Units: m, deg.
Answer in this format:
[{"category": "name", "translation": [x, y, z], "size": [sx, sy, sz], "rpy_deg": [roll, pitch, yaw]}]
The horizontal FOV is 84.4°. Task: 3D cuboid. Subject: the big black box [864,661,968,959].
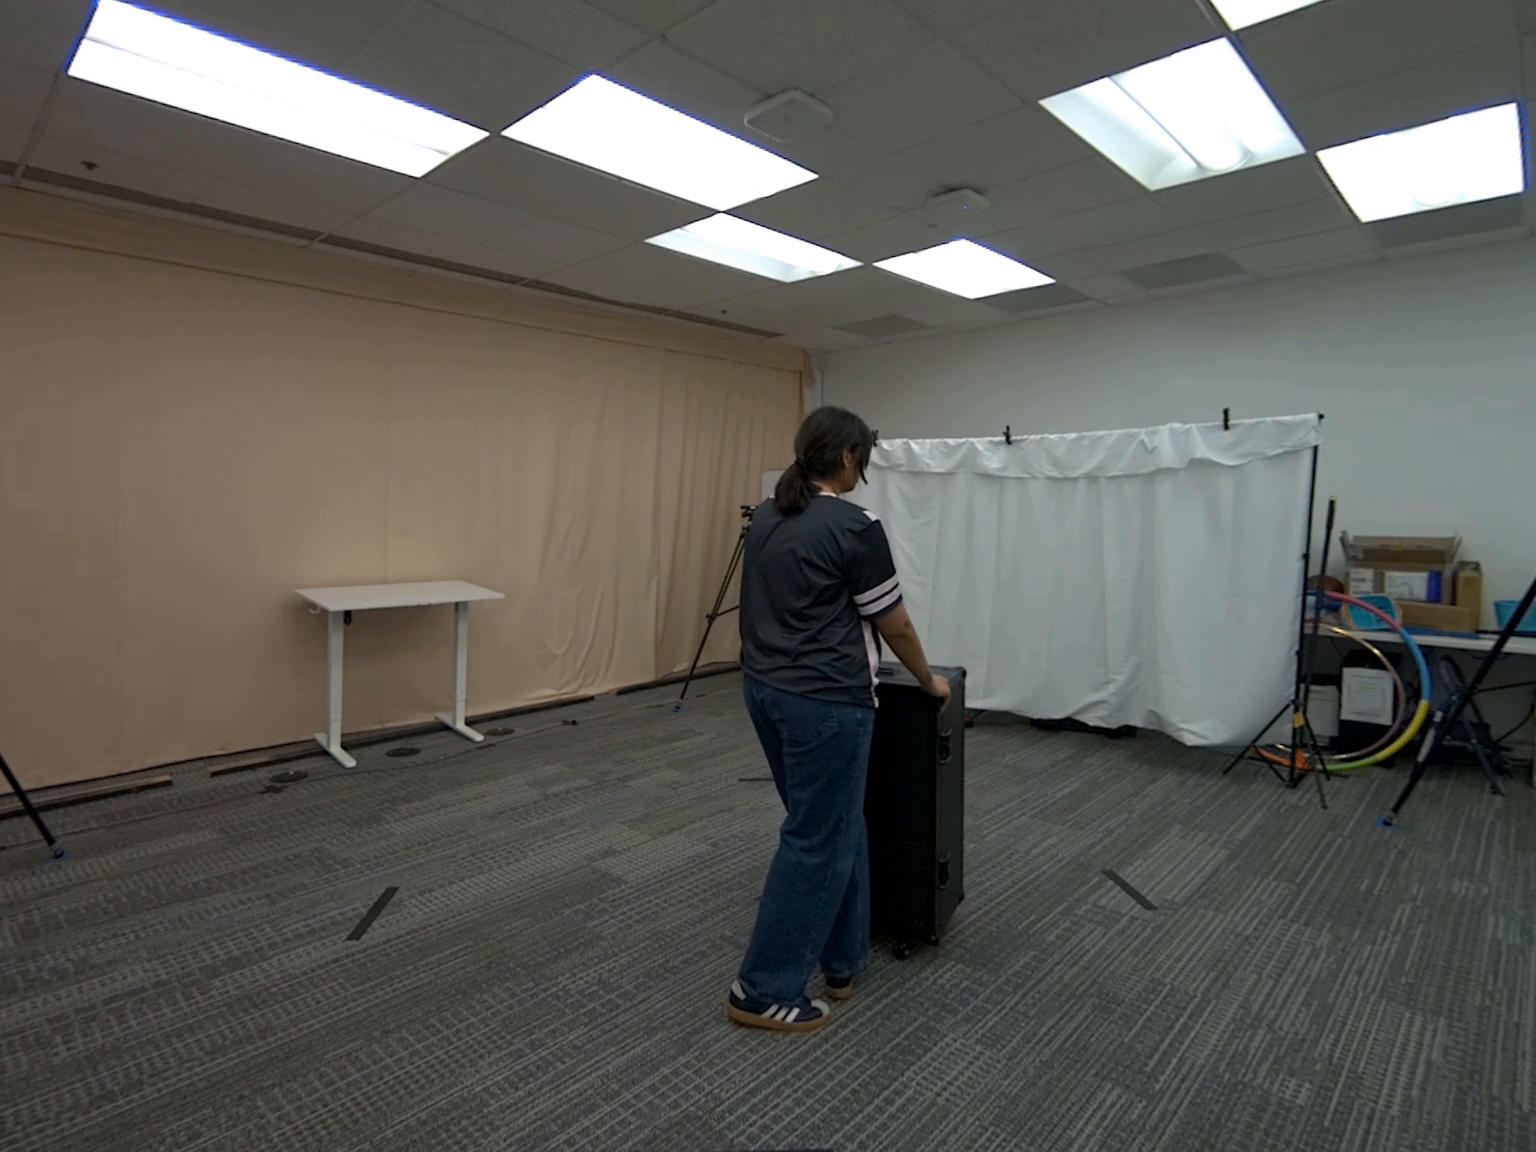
[{"category": "big black box", "translation": [0.369, 0.737, 2.784], "size": [0.538, 0.867, 0.375], "rpy_deg": [2, 3, 27]}]
